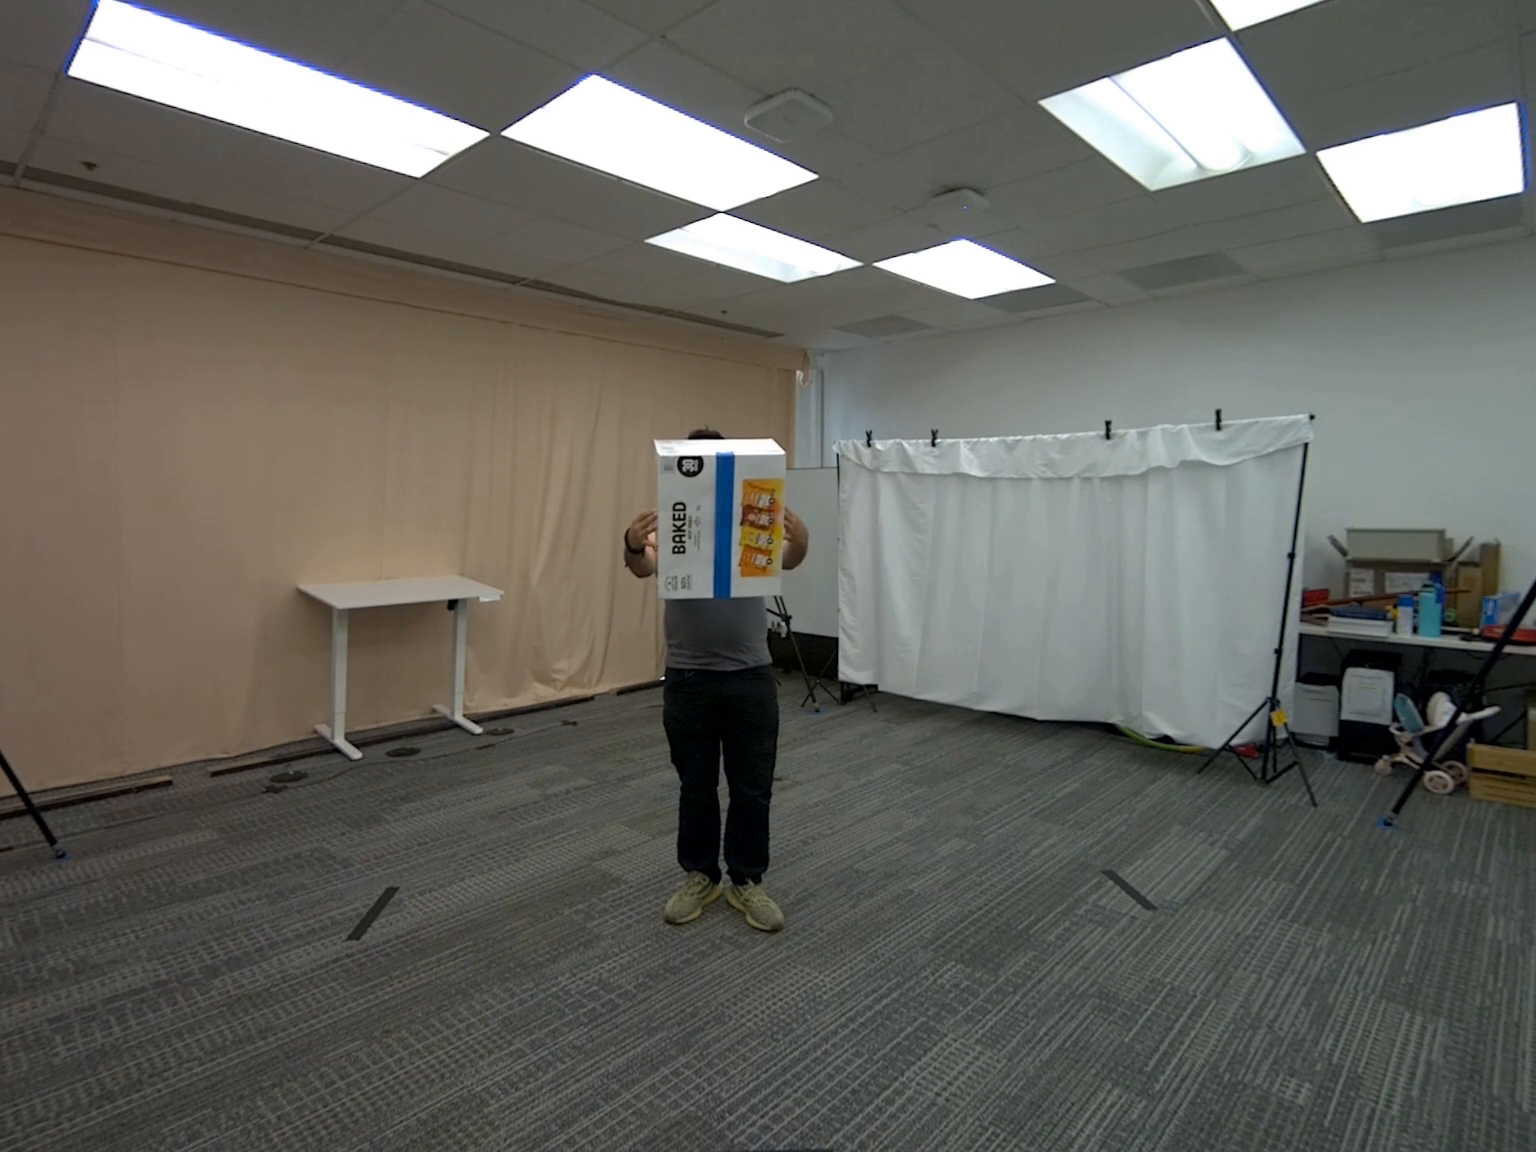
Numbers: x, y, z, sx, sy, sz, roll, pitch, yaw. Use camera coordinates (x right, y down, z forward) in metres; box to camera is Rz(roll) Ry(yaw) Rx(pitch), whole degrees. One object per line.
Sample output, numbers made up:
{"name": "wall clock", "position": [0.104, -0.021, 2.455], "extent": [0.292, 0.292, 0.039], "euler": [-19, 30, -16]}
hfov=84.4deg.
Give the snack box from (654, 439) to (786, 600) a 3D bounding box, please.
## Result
{"name": "snack box", "position": [-0.140, -0.158, 2.329], "extent": [0.337, 0.401, 0.210], "euler": [-2, 18, -9]}
